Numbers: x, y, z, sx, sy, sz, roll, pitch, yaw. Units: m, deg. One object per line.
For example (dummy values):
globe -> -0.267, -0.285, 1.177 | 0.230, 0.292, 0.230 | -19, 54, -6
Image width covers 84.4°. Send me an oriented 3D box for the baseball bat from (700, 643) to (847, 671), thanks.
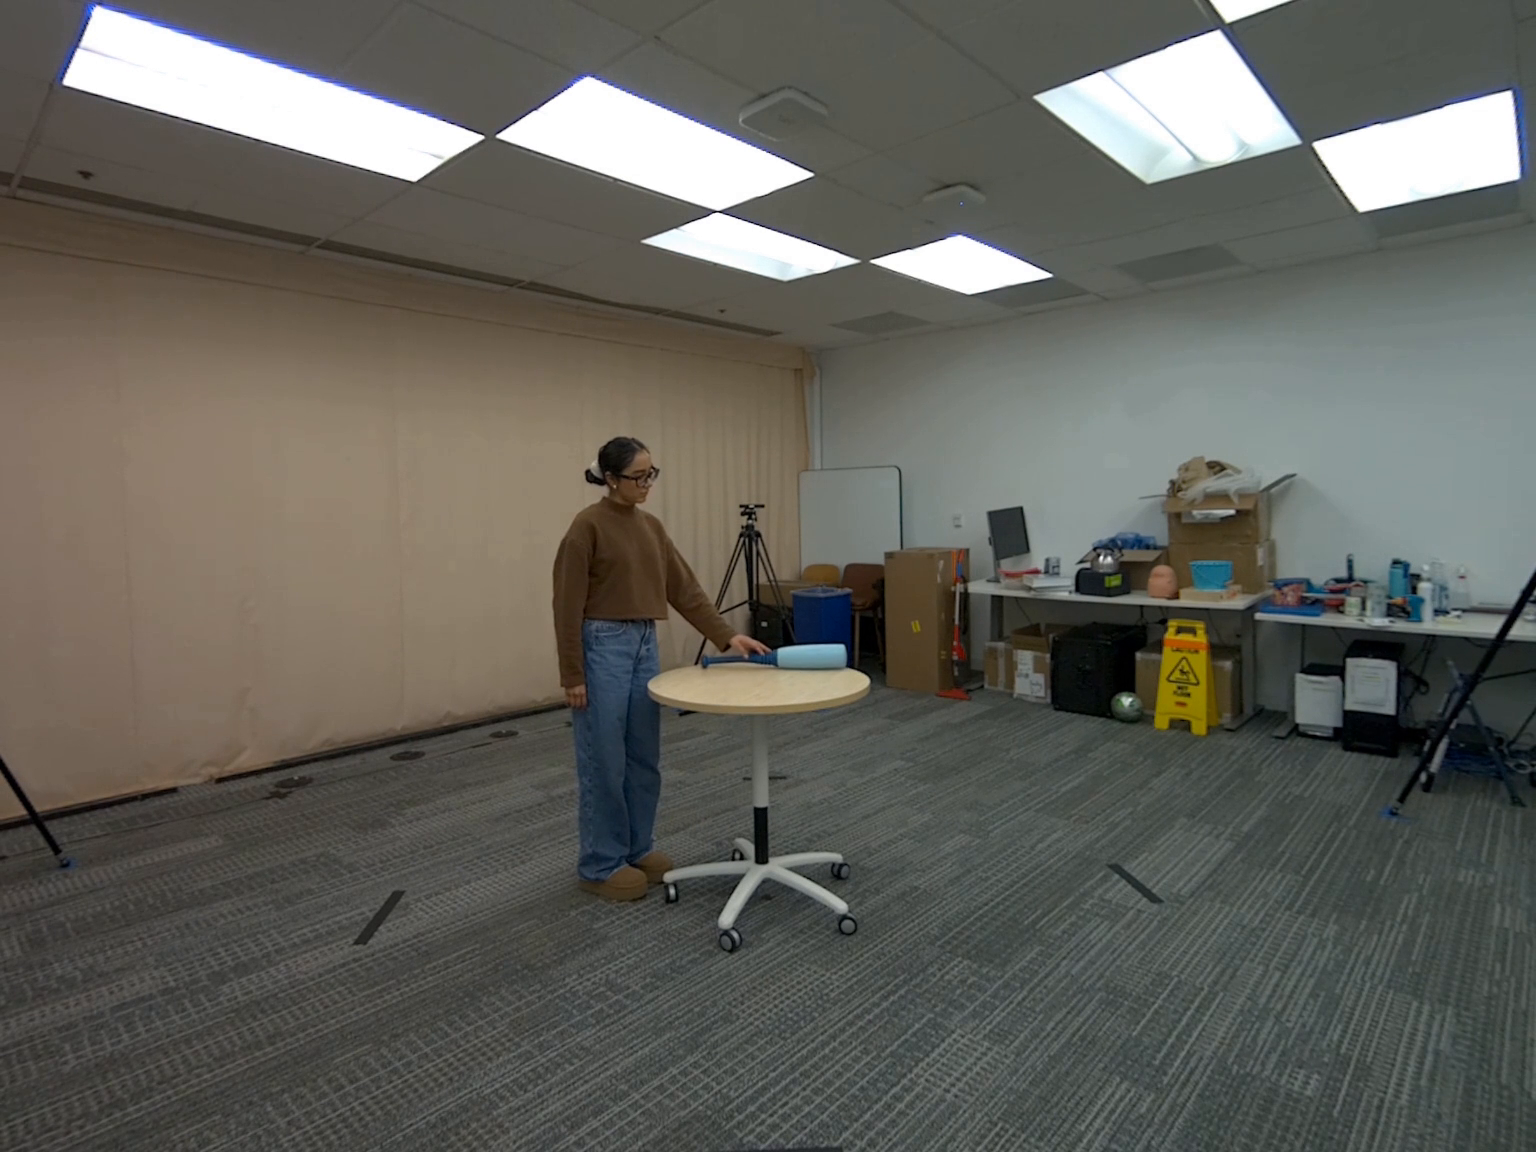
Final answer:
baseball bat -> 0.020, 0.308, 3.120 | 0.548, 0.089, 0.088 | -3, 4, 9
